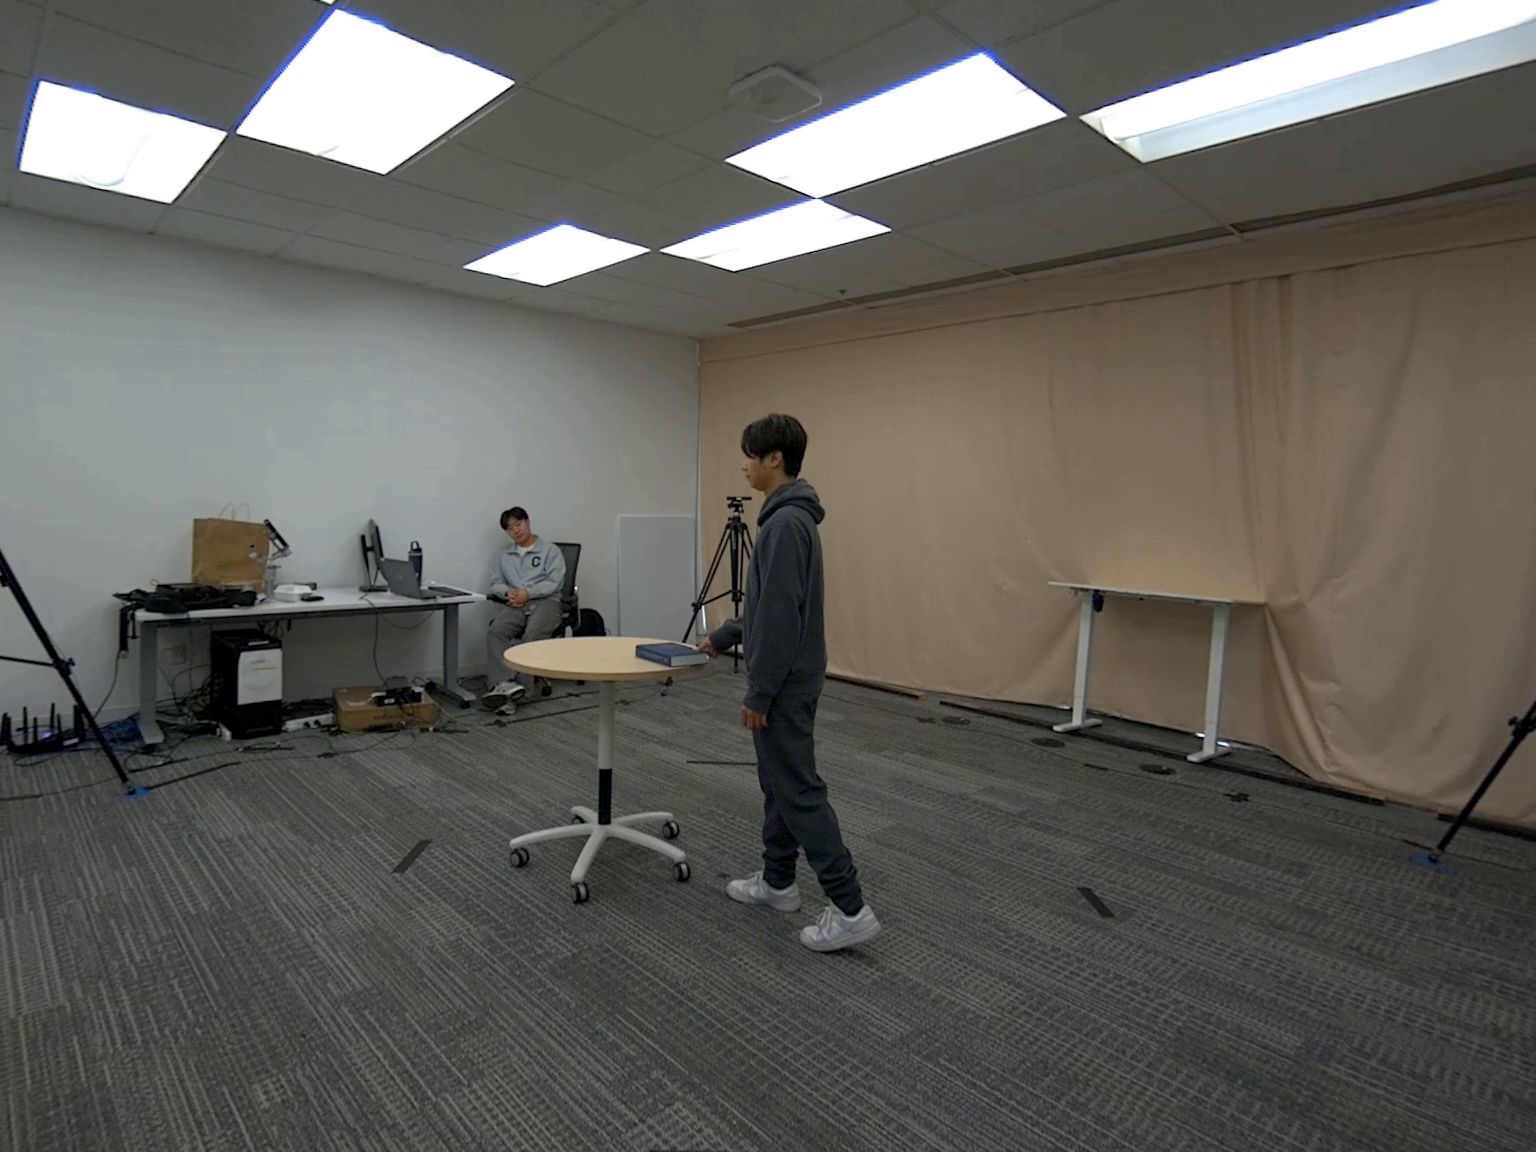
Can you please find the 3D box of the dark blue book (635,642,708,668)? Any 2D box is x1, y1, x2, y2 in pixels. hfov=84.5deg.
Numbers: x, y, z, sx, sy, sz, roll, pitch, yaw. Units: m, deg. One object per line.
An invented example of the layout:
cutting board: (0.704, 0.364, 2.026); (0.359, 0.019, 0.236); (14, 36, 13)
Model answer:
dark blue book: (-0.364, 0.290, 3.080); (0.160, 0.045, 0.251); (-2, 6, -37)
